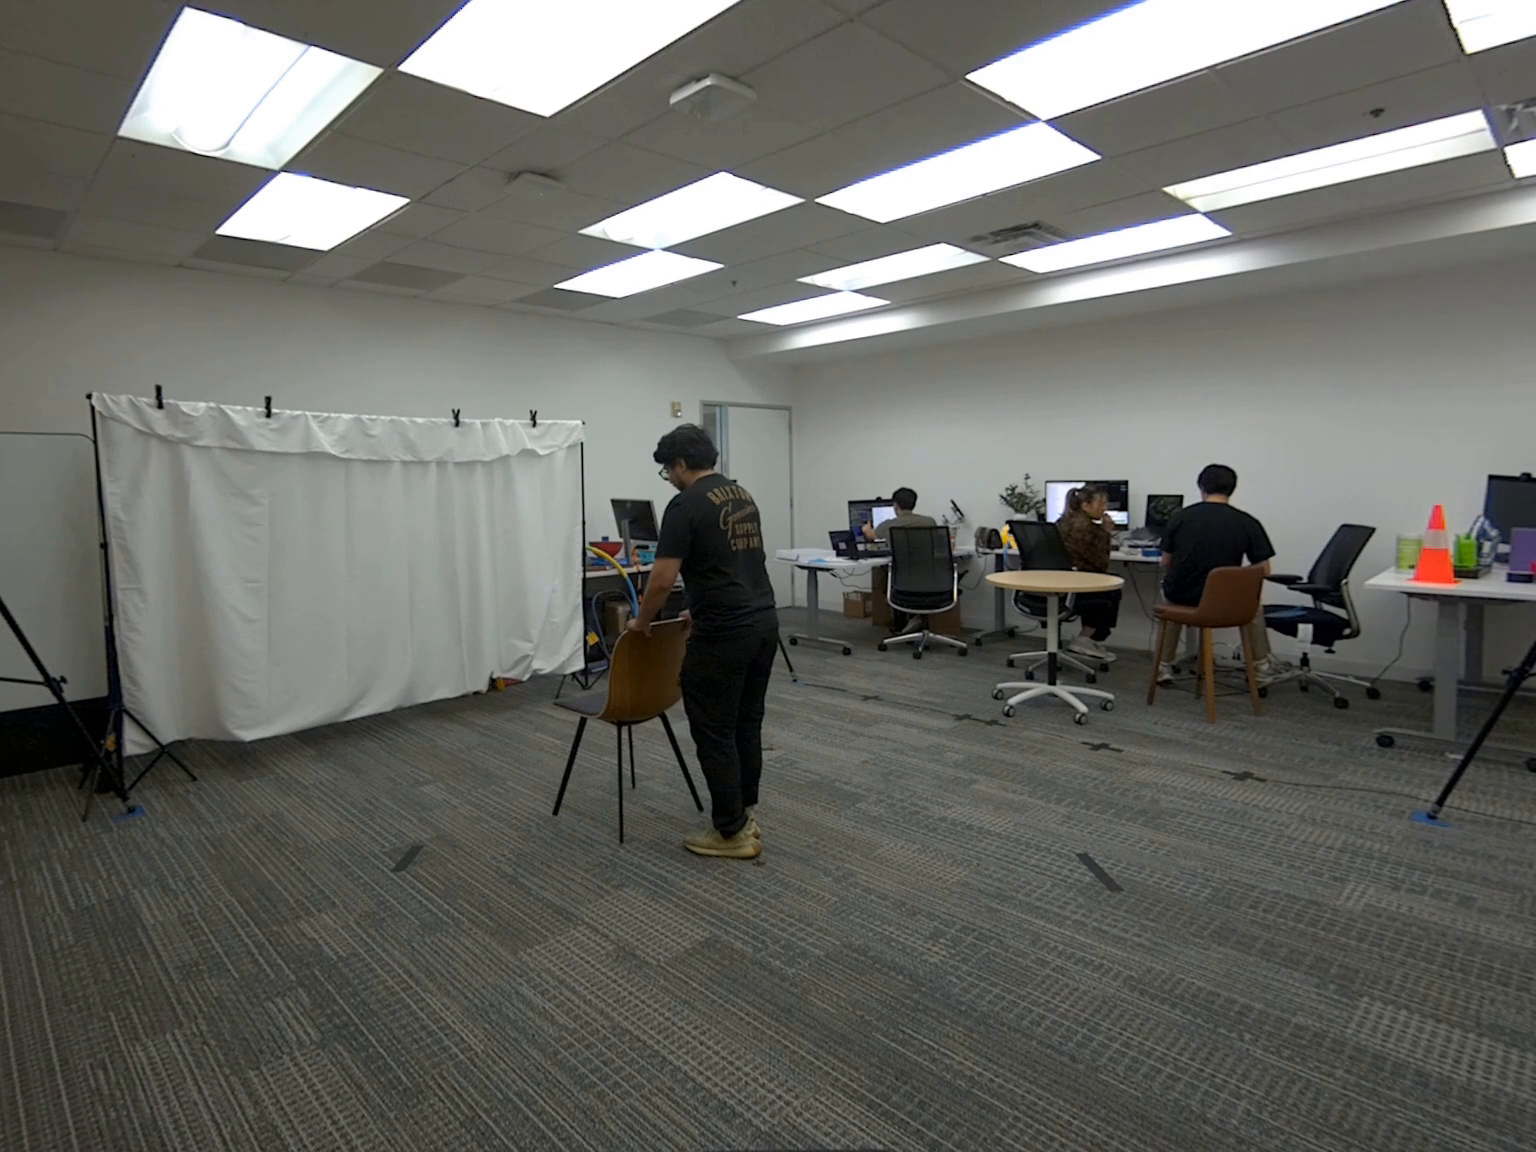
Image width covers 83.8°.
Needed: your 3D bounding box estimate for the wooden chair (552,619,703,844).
[{"bbox_3d":[-0.602,0.575,3.585,0.540,0.872,0.465,8,9,42],"label":"wooden chair"}]
